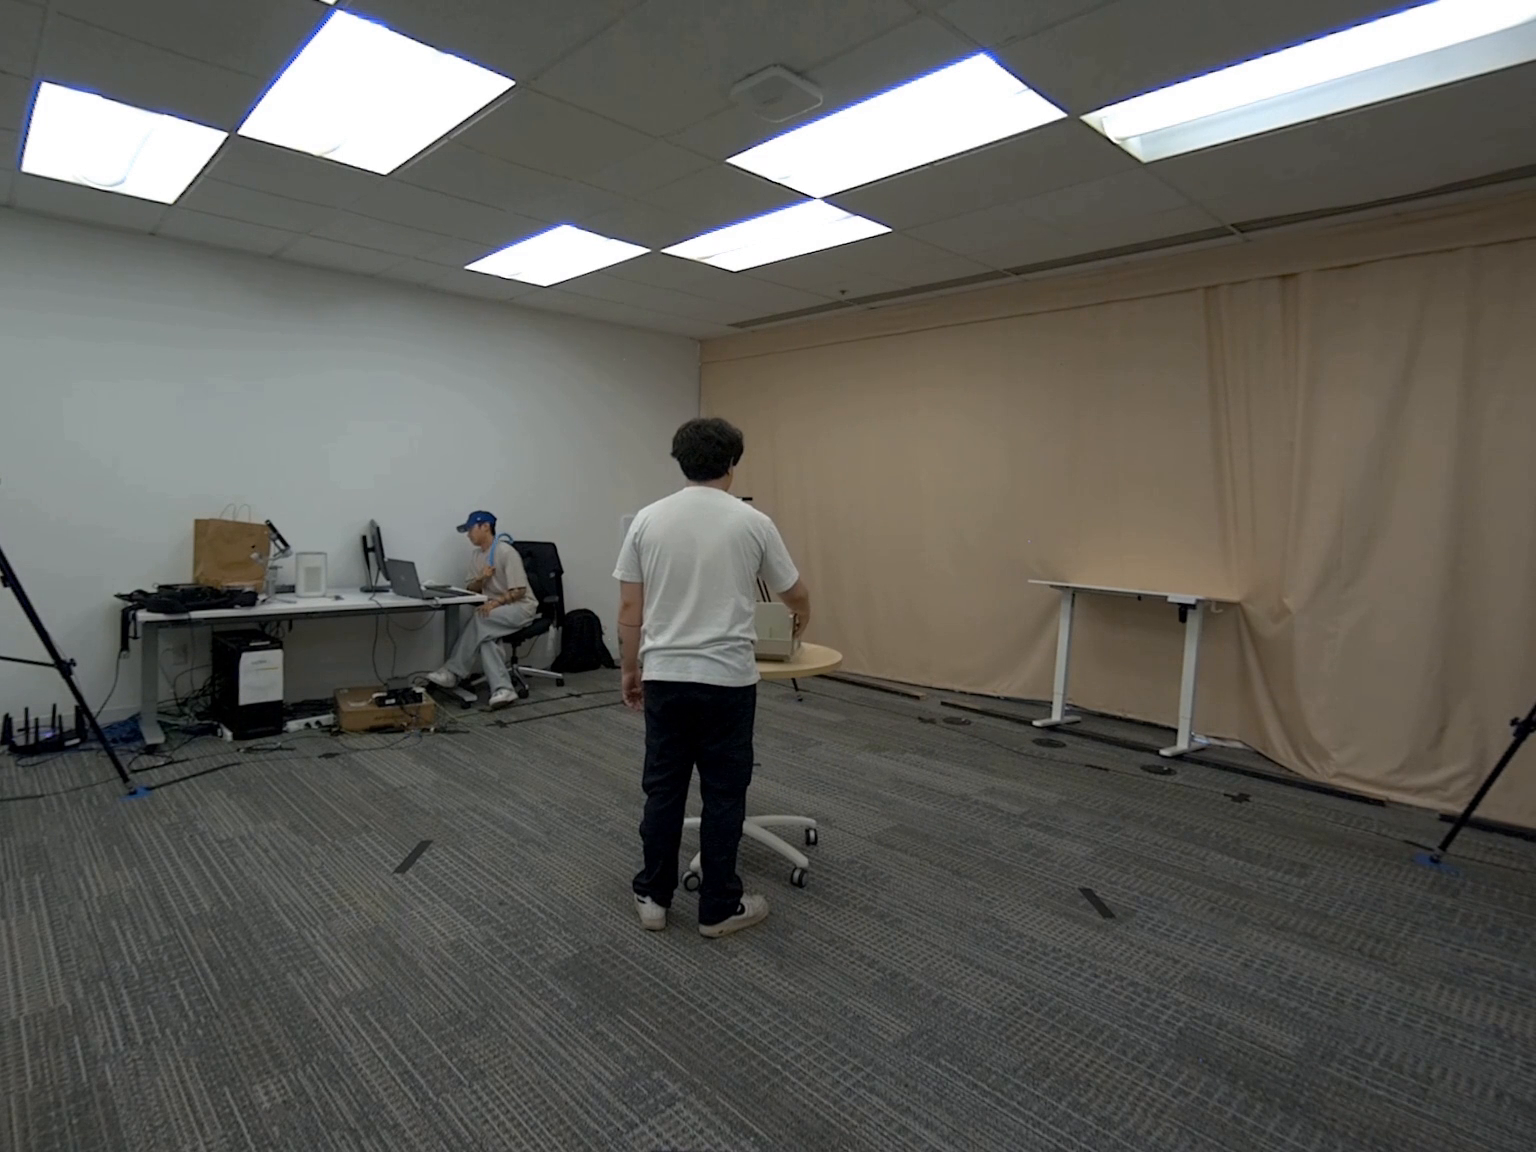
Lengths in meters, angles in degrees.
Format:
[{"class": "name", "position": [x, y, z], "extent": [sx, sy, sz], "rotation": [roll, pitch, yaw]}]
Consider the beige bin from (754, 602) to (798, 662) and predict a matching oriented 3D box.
[{"class": "beige bin", "position": [-0.090, 0.213, 3.247], "extent": [0.426, 0.188, 0.374], "rotation": [1, 3, 12]}]
